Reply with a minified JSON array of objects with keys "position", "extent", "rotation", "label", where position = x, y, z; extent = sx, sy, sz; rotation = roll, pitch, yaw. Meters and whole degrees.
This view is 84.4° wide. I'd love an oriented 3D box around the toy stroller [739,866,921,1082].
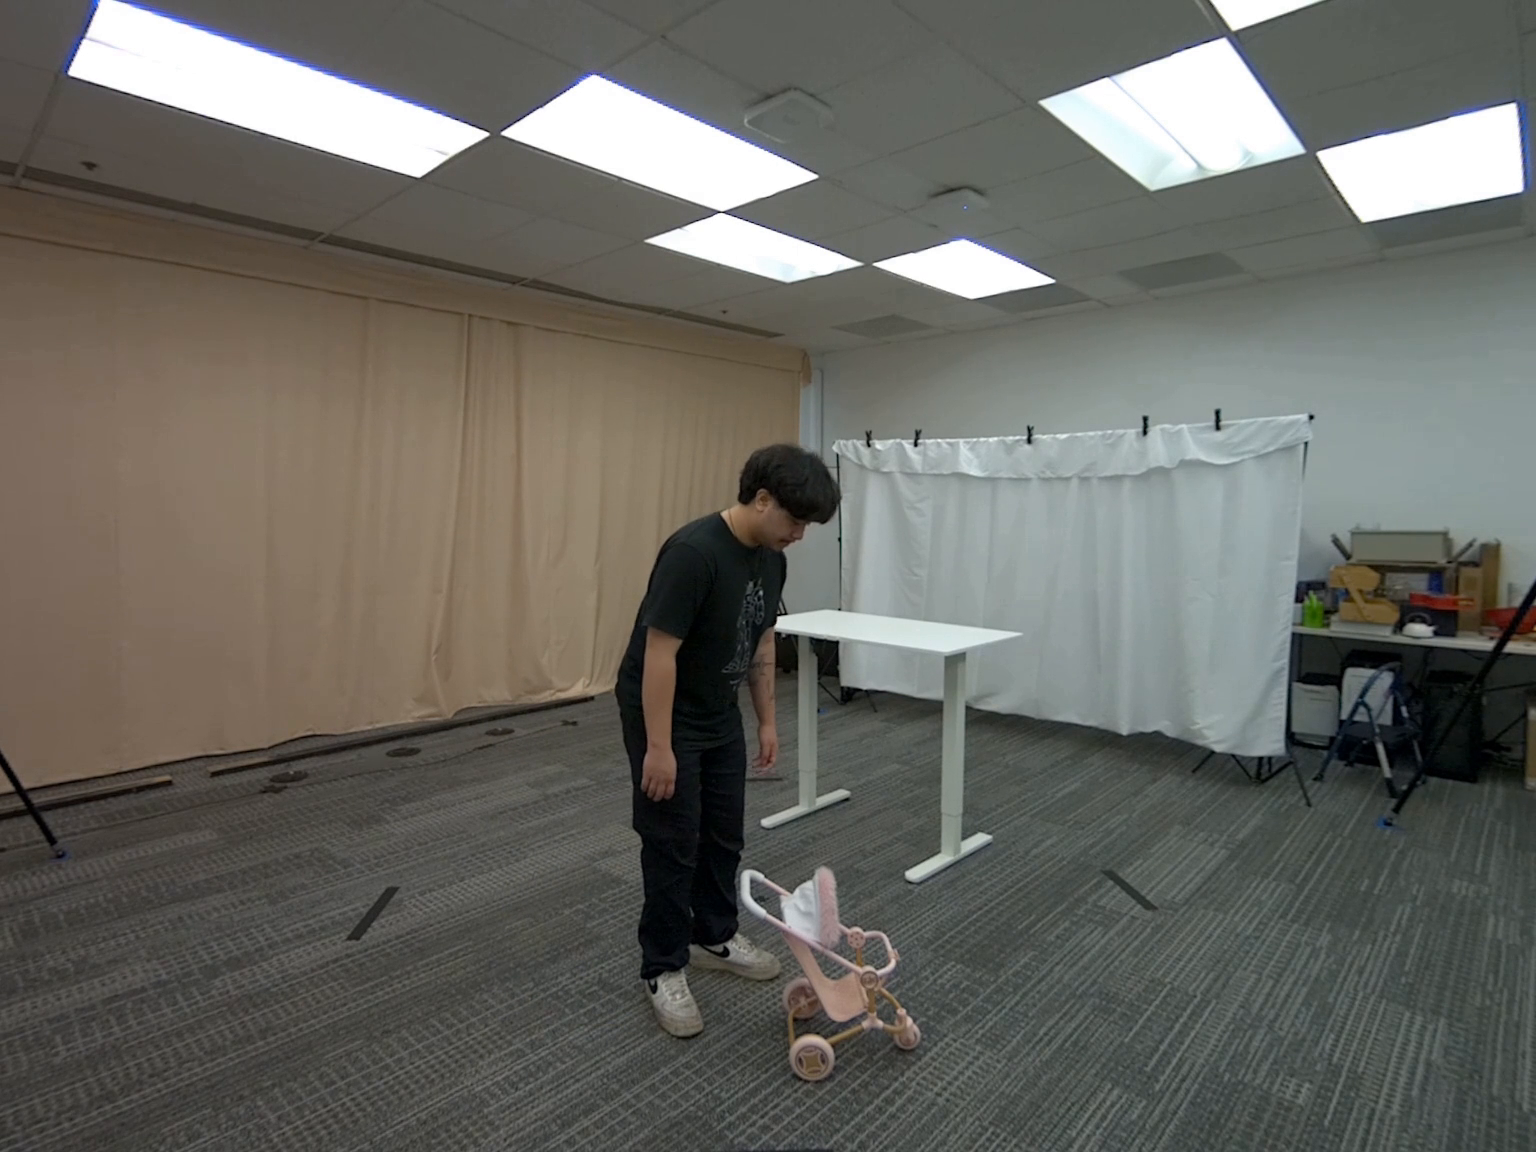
[{"position":[0.168,0.998,2.135],"extent":[0.343,0.533,0.280],"rotation":[-15,3,6],"label":"toy stroller"}]
